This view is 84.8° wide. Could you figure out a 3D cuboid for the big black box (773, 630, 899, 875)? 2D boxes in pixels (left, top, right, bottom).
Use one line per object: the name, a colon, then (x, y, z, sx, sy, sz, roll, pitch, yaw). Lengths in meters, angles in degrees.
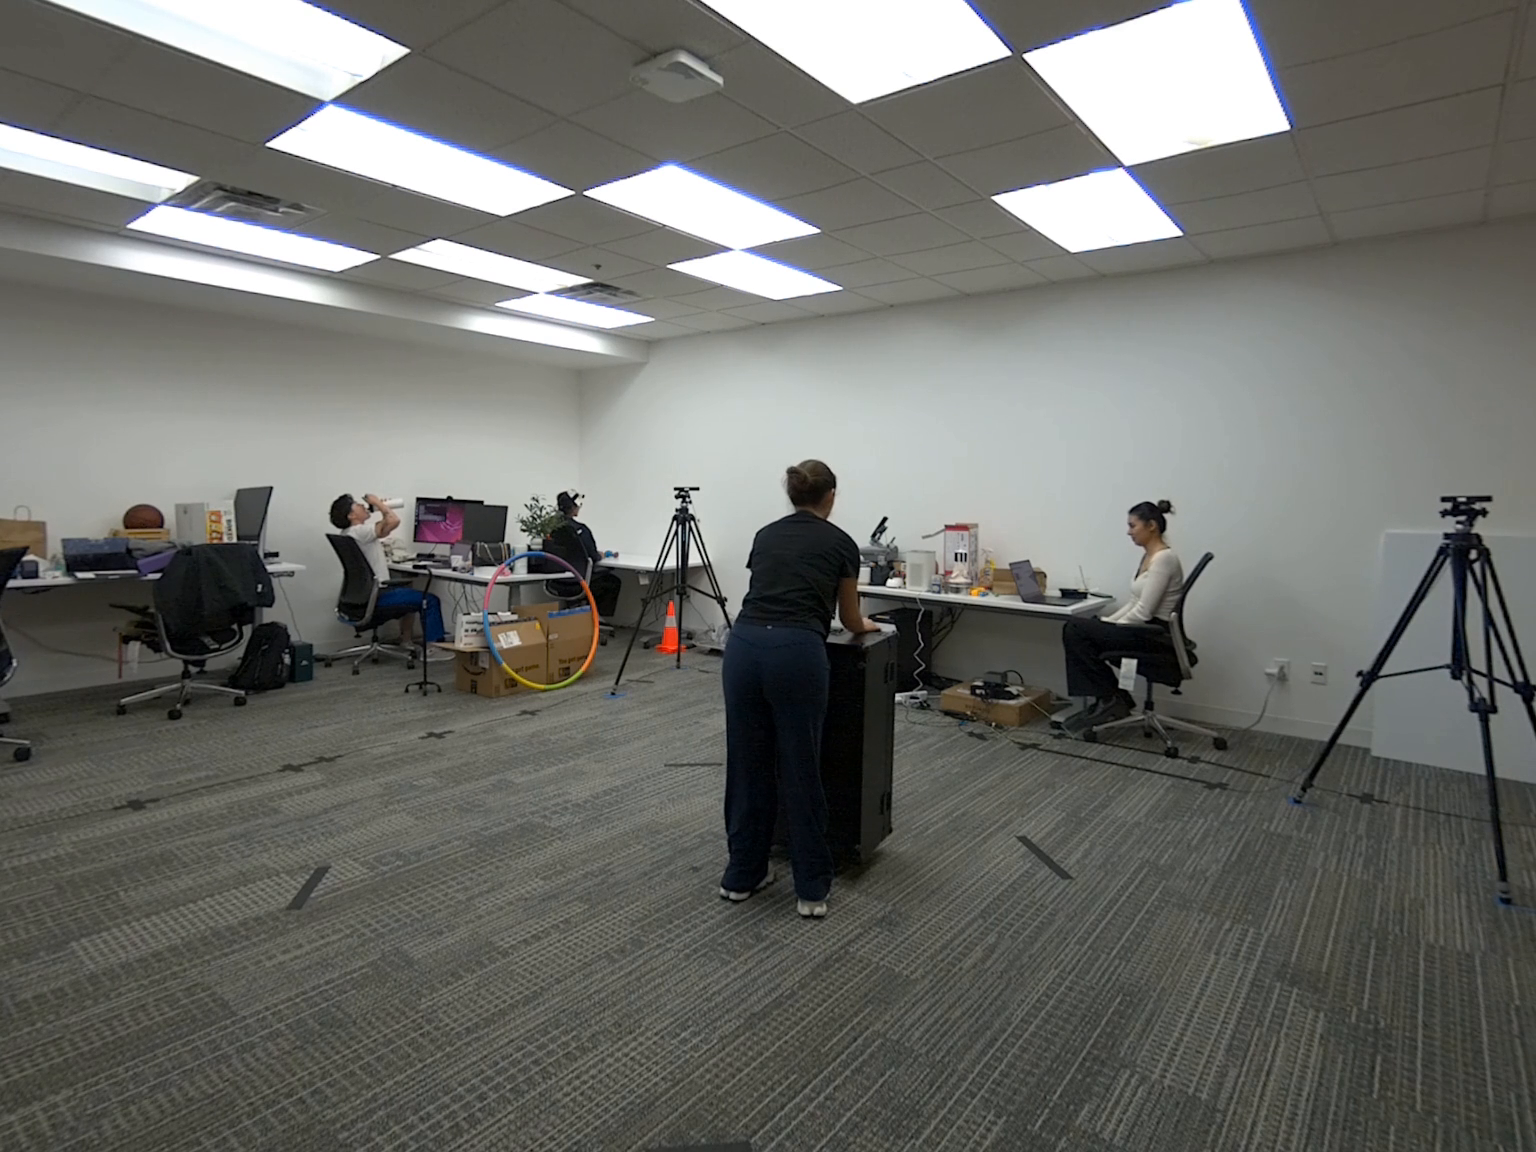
big black box: (0.214, 0.583, 3.249, 0.536, 0.859, 0.386, 3, 4, 29)
